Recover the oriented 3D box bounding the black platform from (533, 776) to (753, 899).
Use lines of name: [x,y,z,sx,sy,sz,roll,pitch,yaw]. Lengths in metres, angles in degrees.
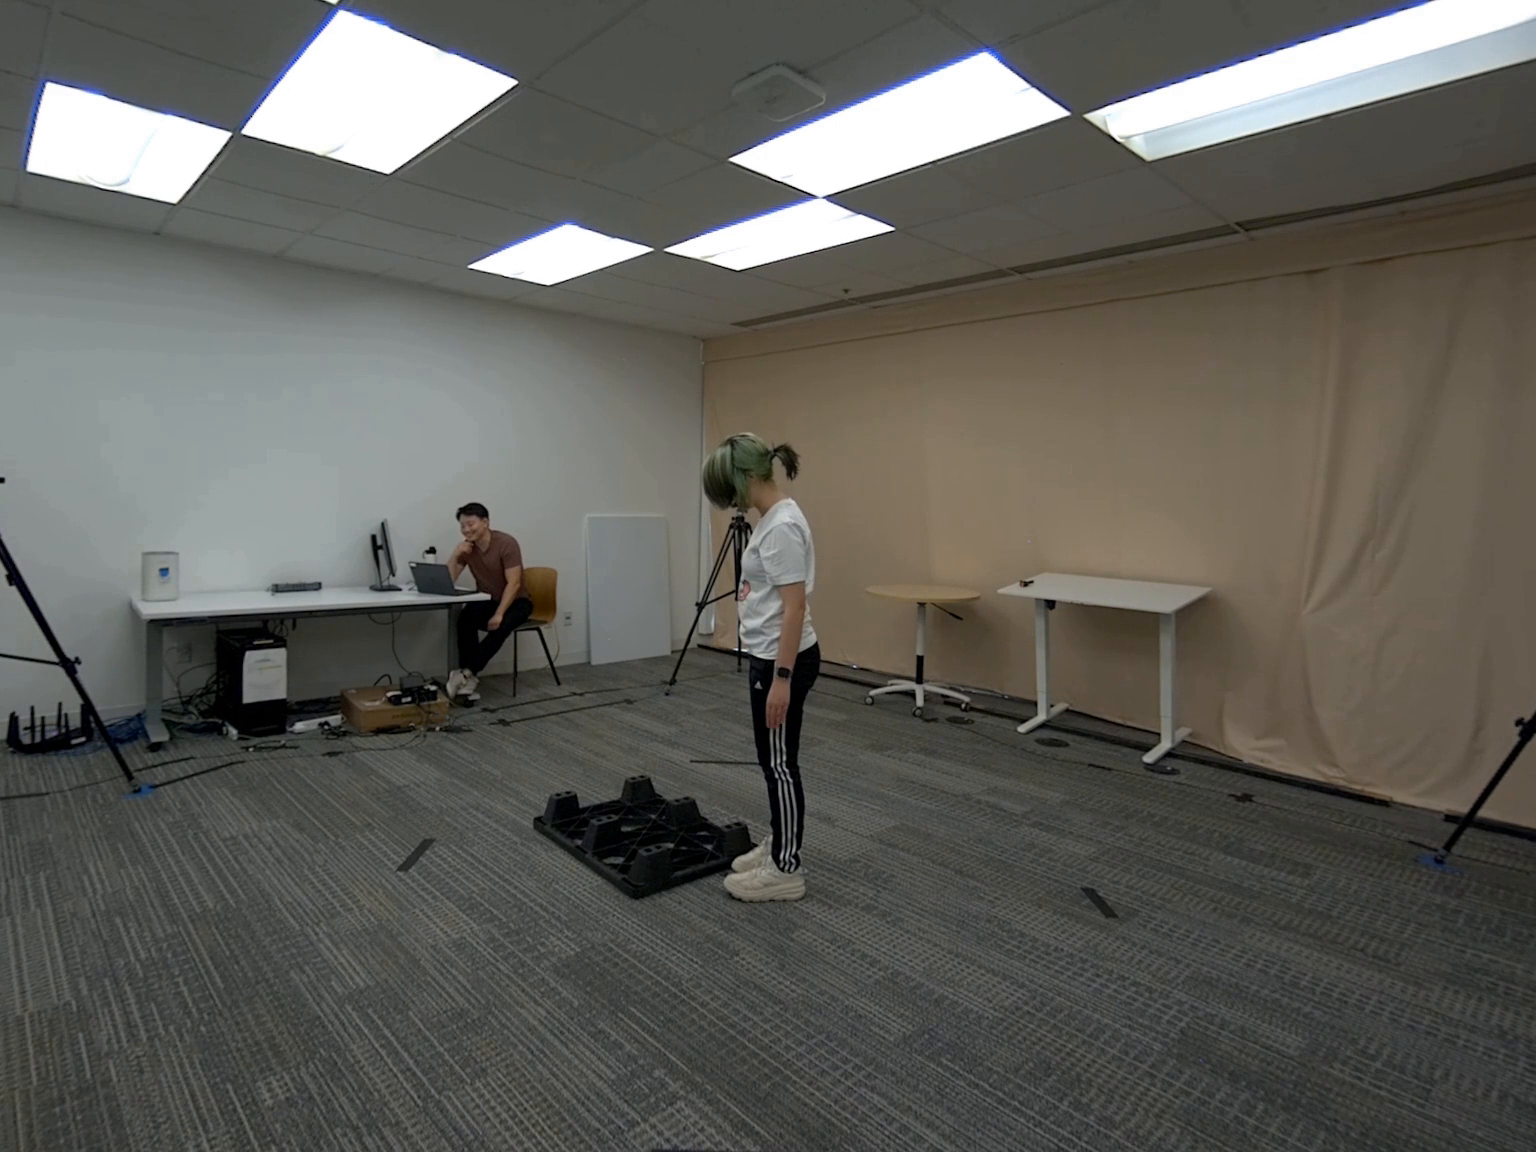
black platform: [-0.495,1.006,3.380,0.592,0.143,0.826,-4,8,-40]
